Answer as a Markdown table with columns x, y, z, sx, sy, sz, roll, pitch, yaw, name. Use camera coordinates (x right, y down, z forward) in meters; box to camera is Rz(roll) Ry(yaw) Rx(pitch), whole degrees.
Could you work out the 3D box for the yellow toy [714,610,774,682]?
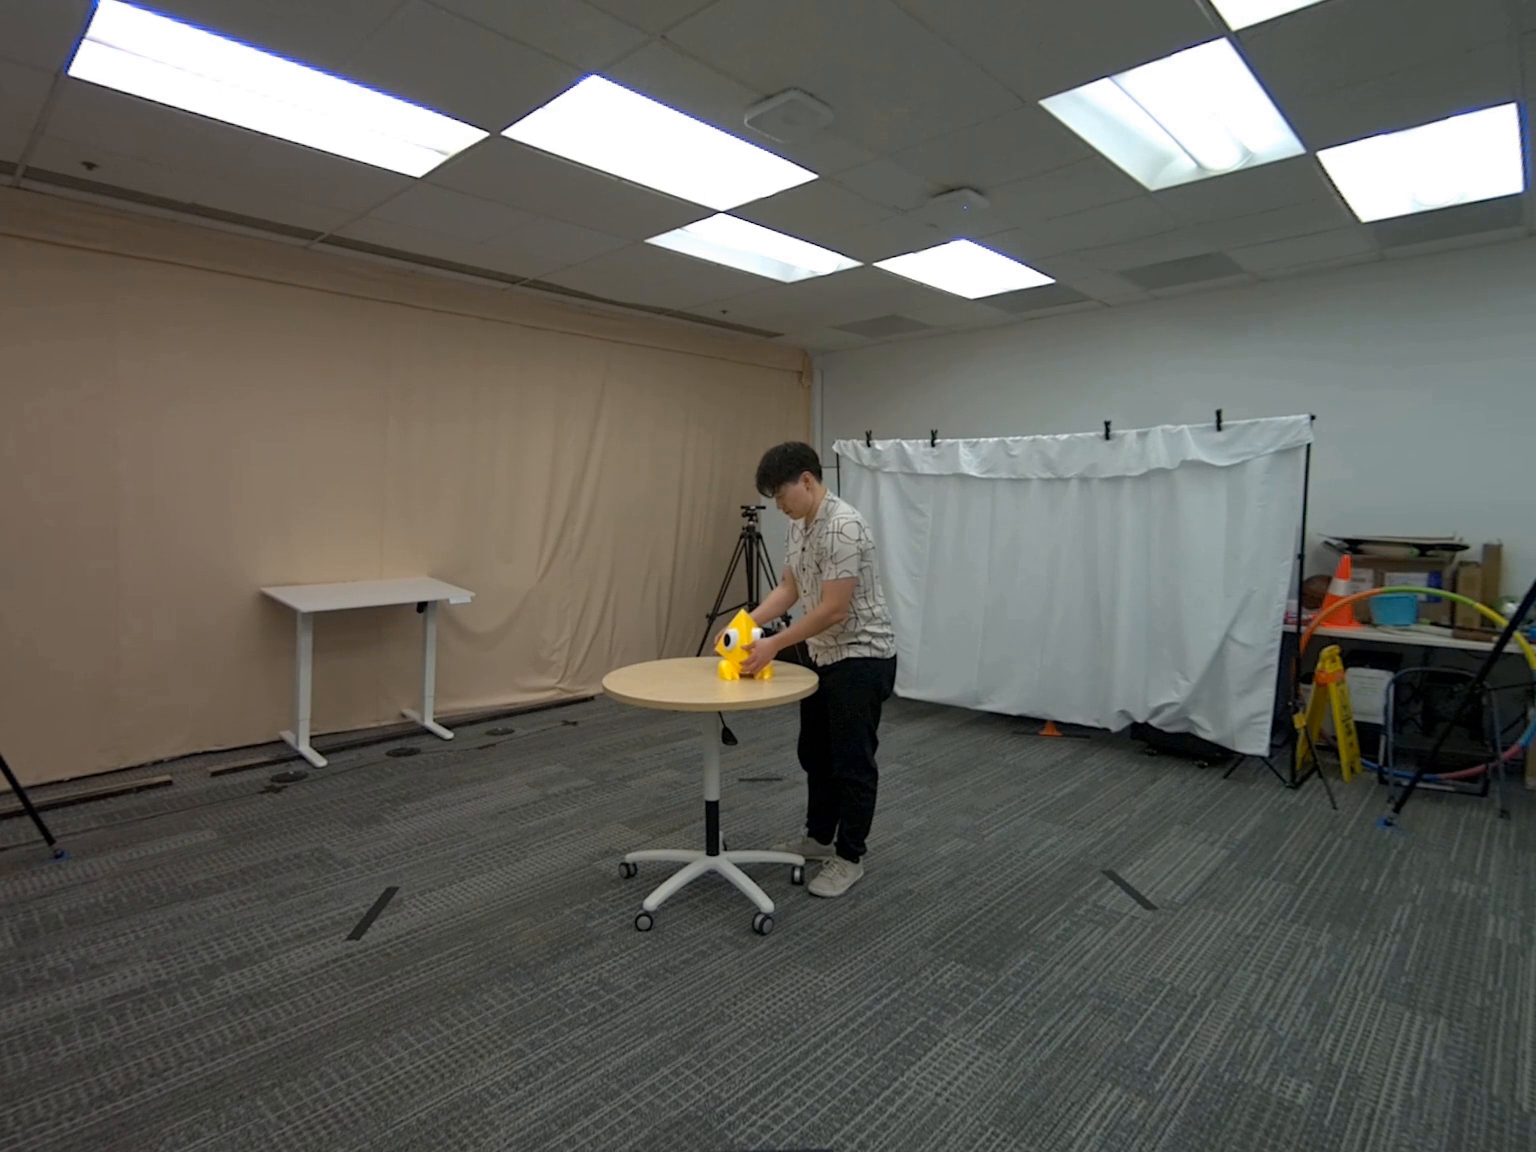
| x | y | z | sx | sy | sz | roll | pitch | yaw | name |
| --- | --- | --- | --- | --- | --- | --- | --- | --- | --- |
| -0.081 | 0.243 | 3.027 | 0.203 | 0.230 | 0.194 | -1 | 3 | -6 | yellow toy |
